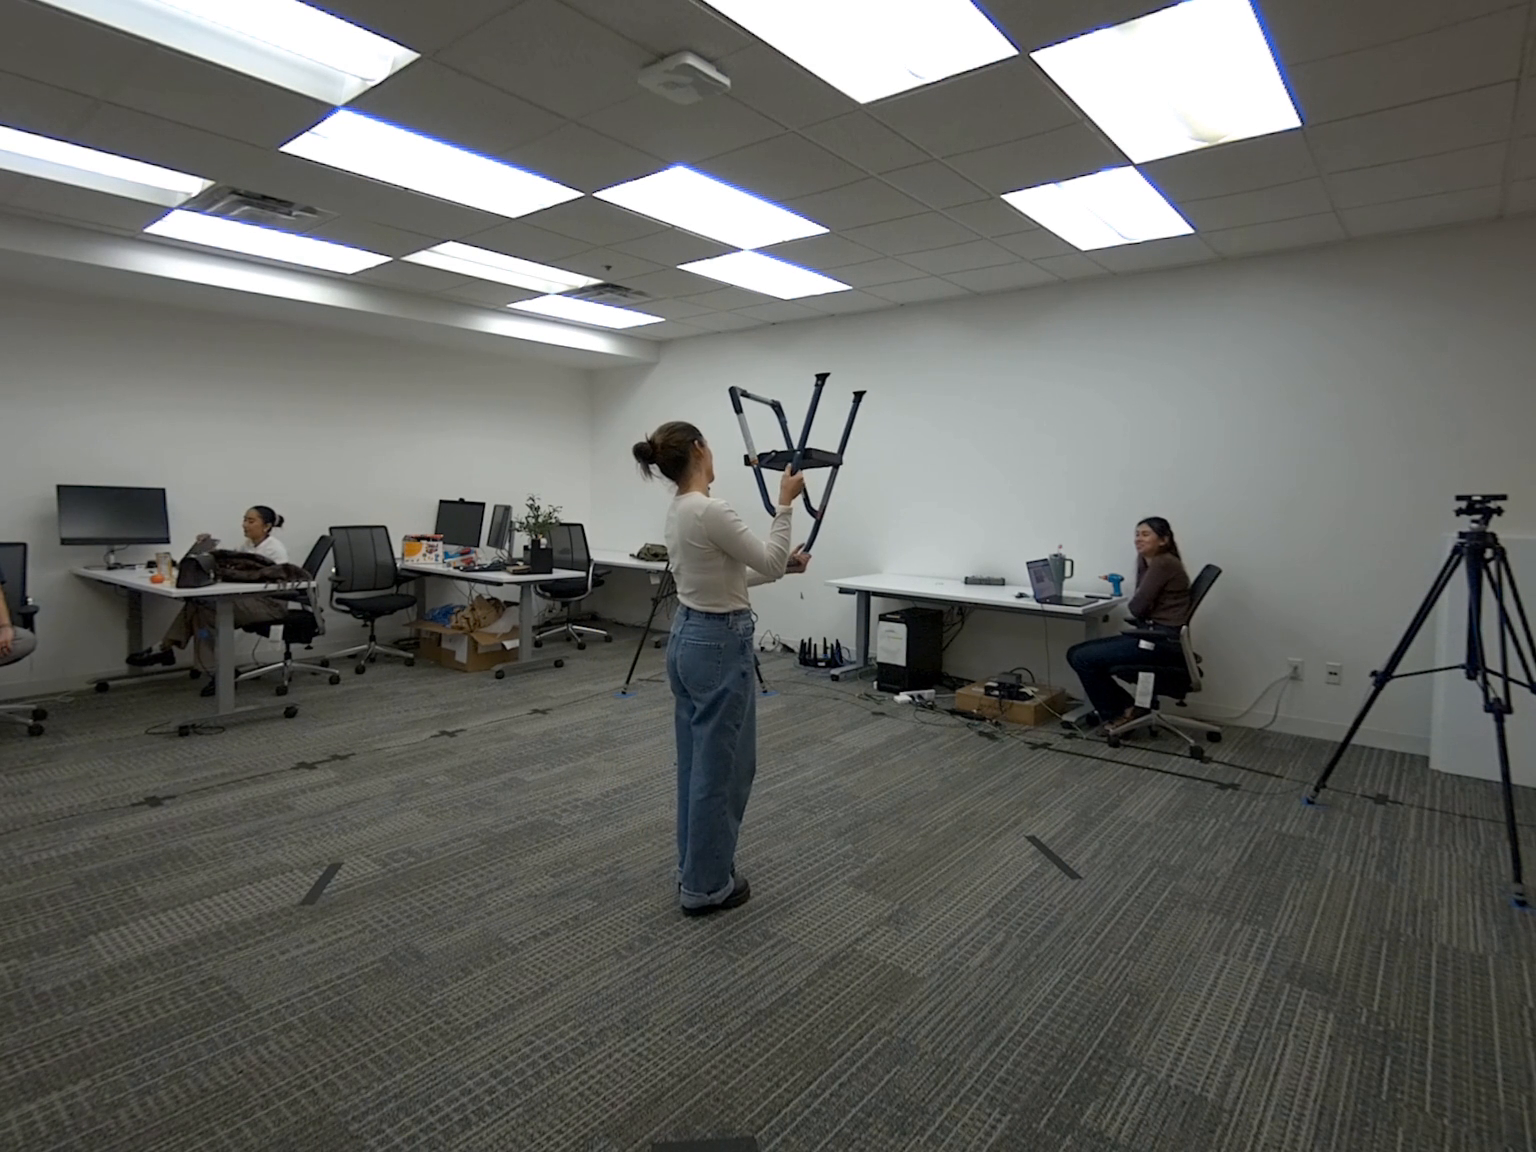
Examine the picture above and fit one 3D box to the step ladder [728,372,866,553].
[{"bbox_3d":[0.111,-0.347,2.890,0.357,0.606,0.420,-3,0,25],"label":"step ladder"}]
